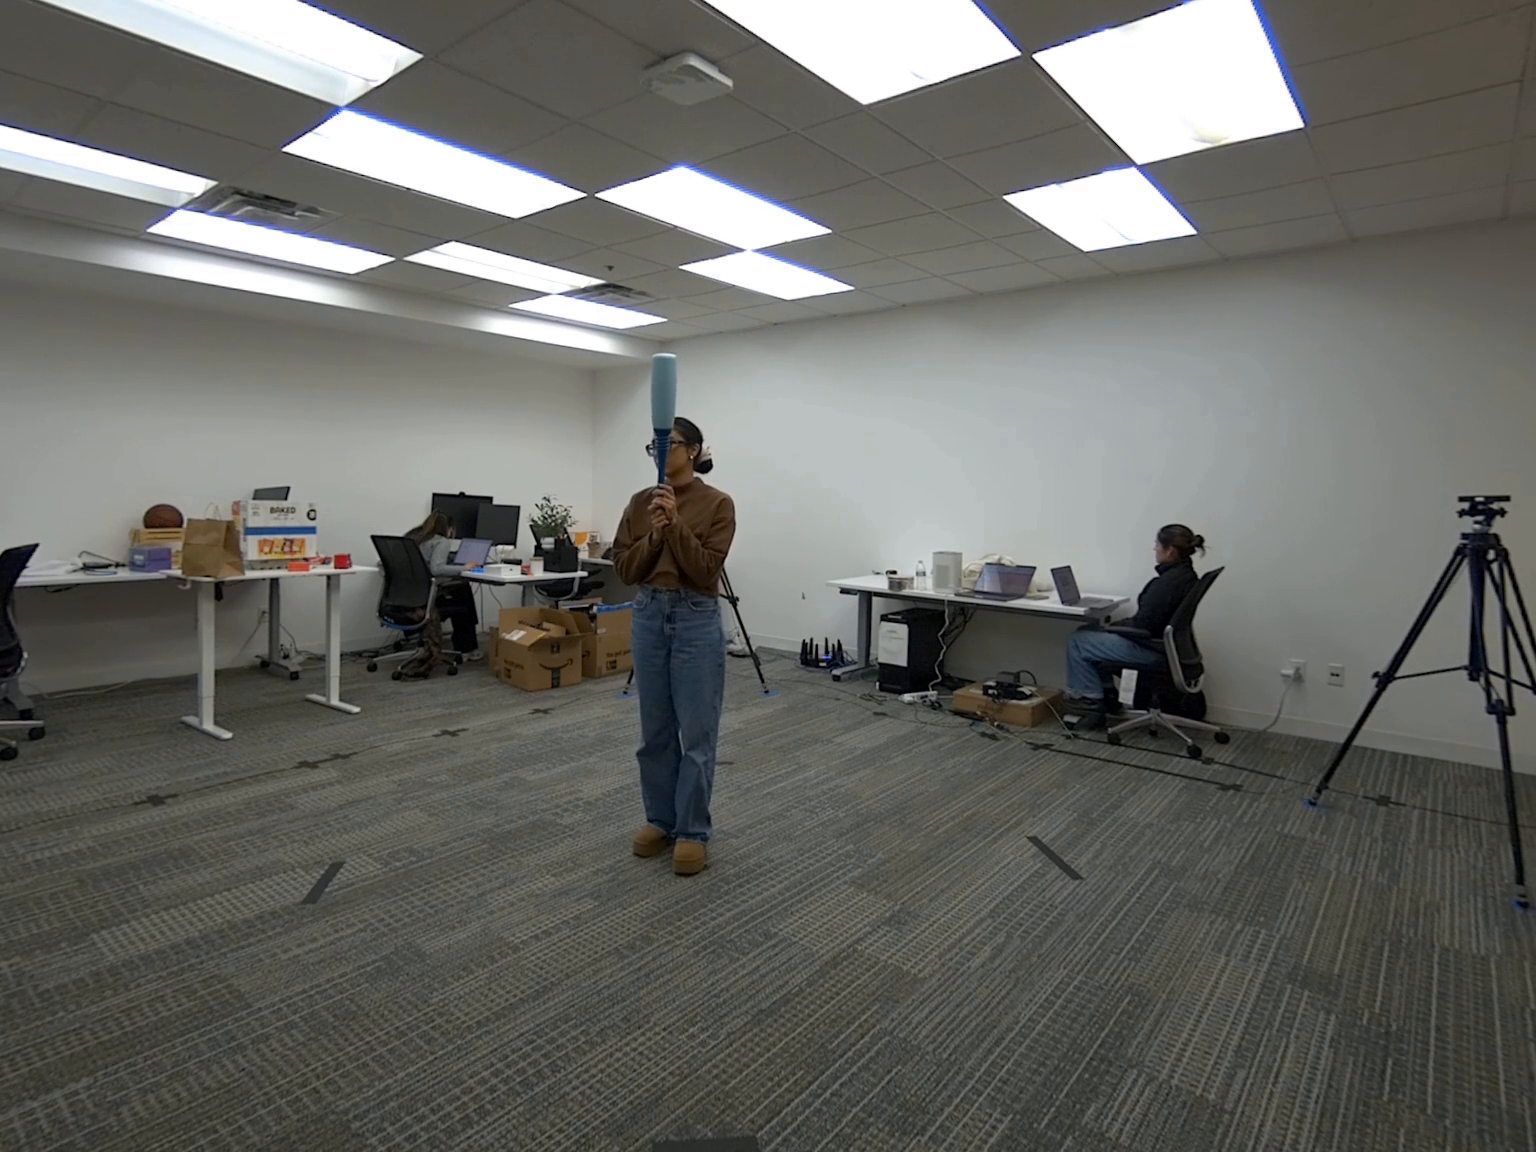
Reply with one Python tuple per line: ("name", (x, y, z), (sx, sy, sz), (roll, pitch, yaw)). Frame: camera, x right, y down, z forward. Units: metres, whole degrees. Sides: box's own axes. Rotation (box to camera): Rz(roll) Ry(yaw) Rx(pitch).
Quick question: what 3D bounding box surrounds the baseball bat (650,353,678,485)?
("baseball bat", (-0.373, -0.502, 2.959), (0.089, 0.535, 0.090), (1, 17, -2))
